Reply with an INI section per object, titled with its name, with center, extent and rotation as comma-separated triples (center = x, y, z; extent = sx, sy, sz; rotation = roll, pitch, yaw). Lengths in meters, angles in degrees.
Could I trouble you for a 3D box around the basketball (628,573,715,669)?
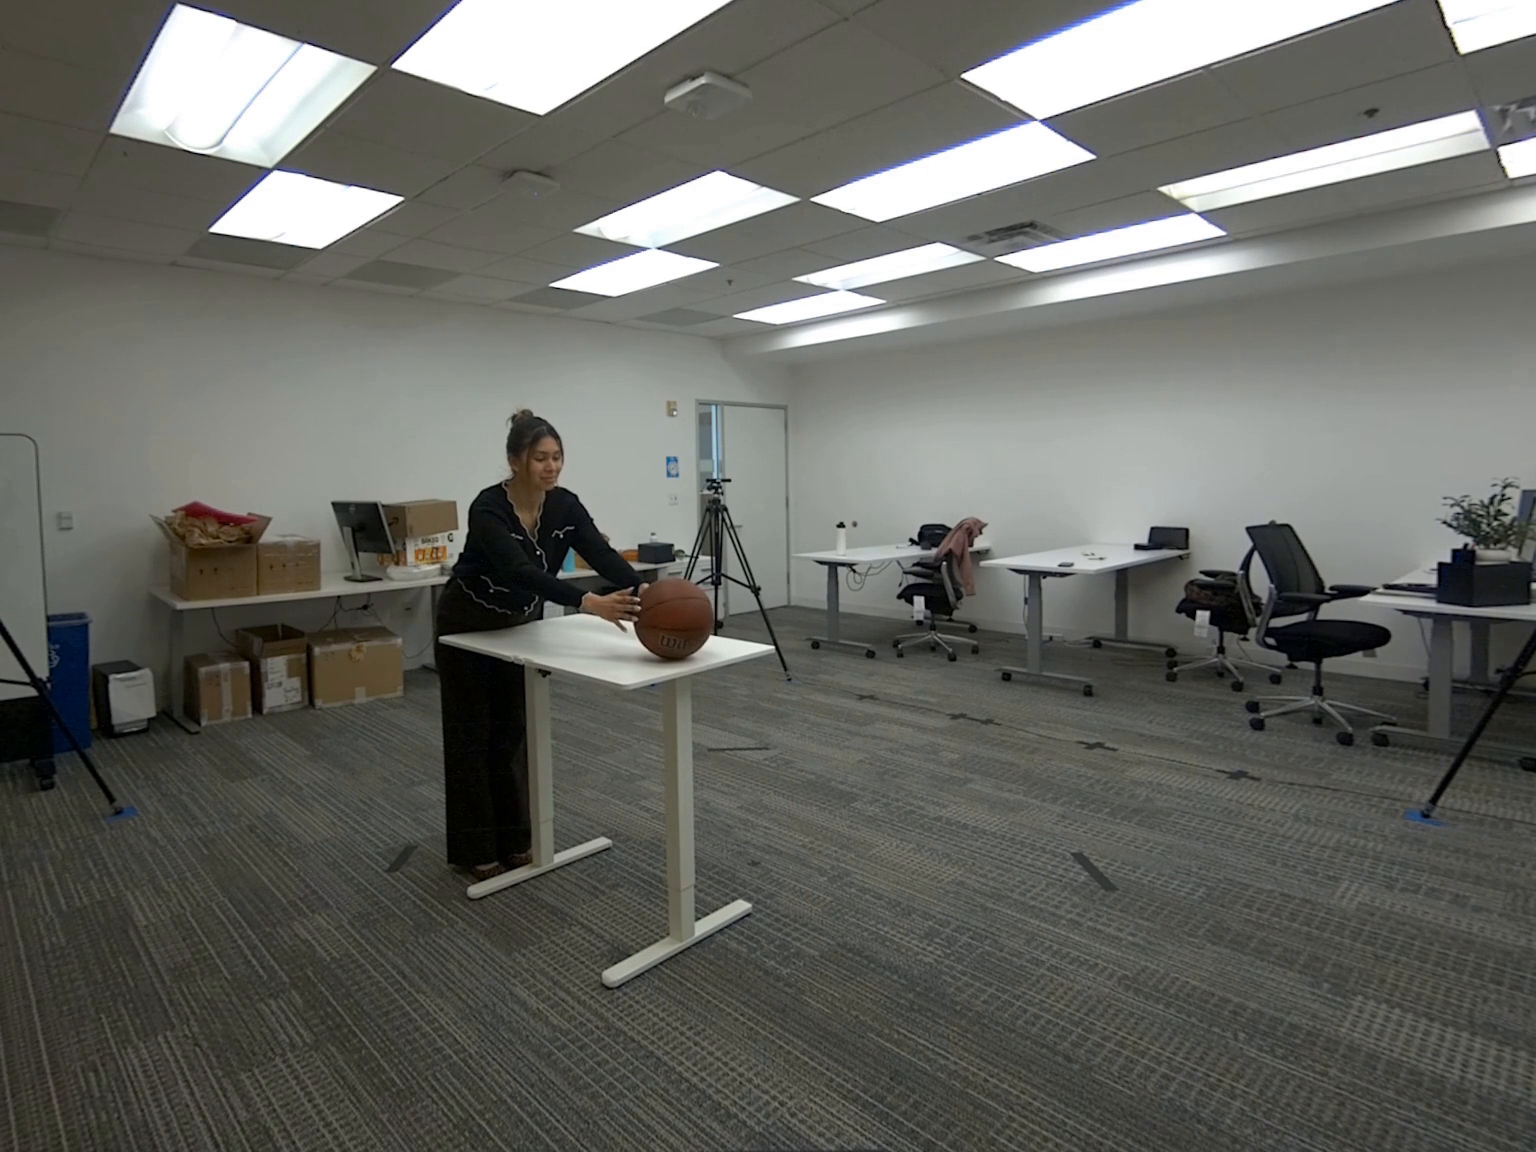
[basketball]
center = -0.276, 0.123, 2.495
extent = 0.236, 0.235, 0.237
rotation = -1, 5, -2
